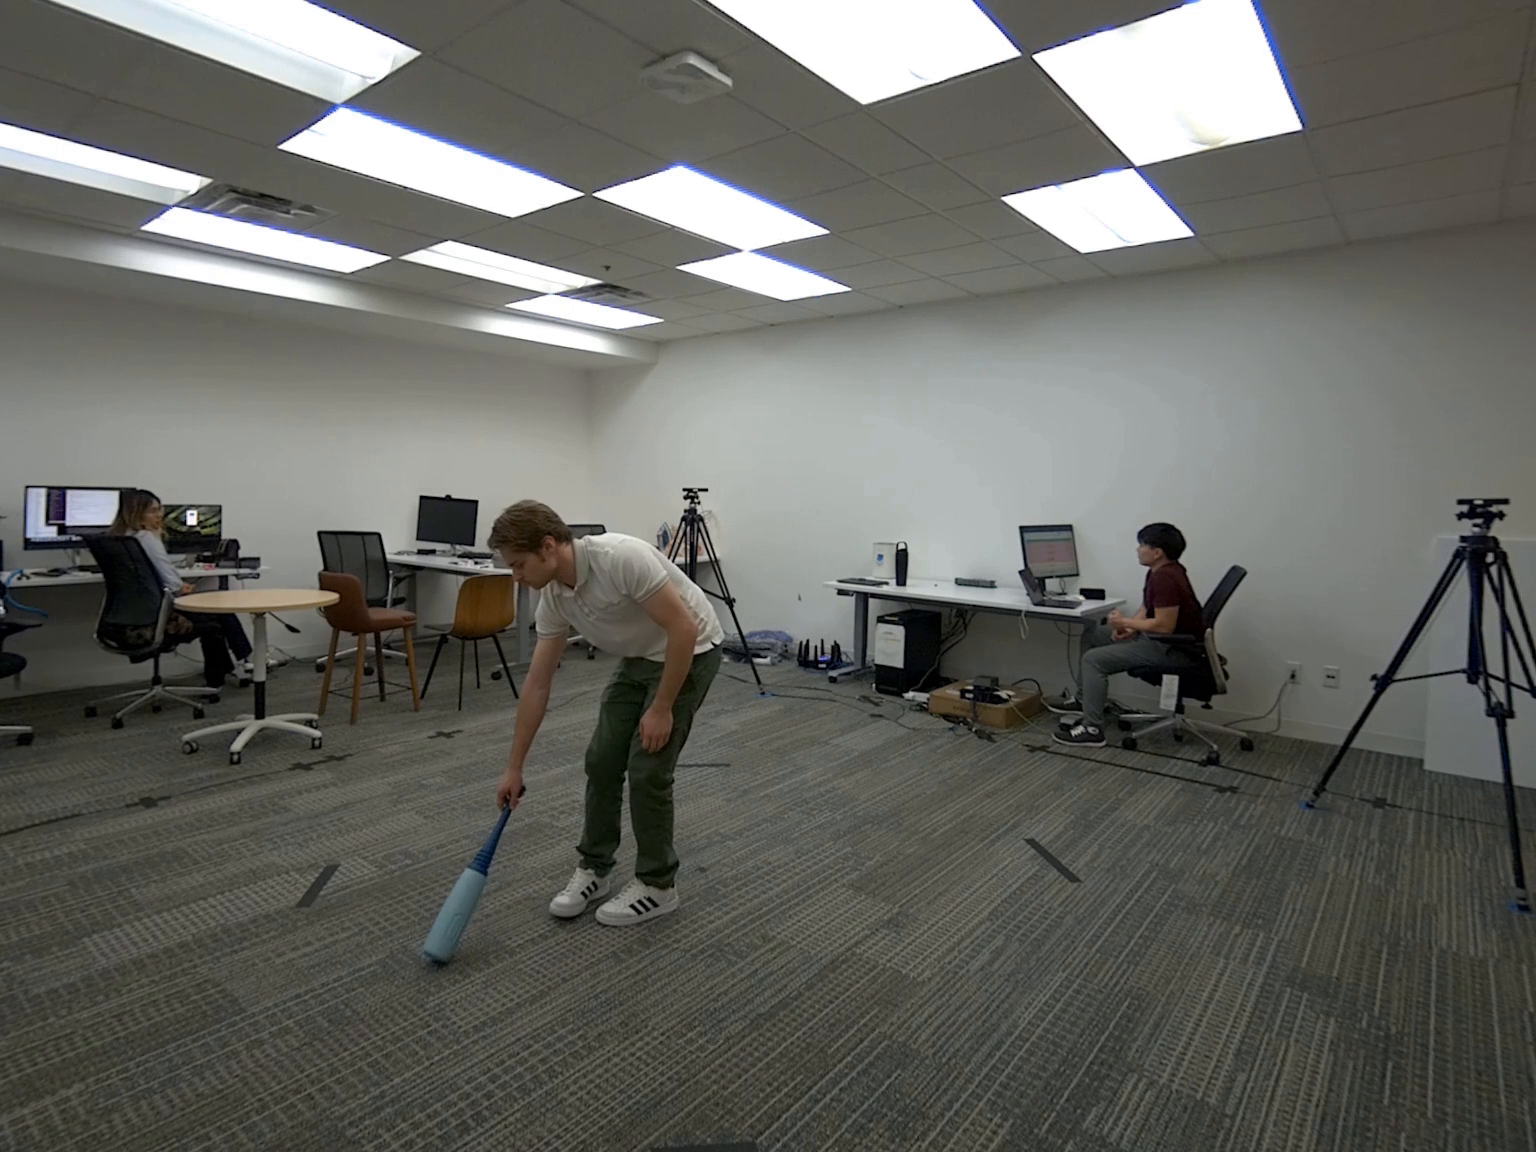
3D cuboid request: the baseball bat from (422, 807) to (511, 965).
[{"bbox_3d":[-0.889,0.893,2.602,0.090,0.550,0.087,15,-35,9],"label":"baseball bat"}]
